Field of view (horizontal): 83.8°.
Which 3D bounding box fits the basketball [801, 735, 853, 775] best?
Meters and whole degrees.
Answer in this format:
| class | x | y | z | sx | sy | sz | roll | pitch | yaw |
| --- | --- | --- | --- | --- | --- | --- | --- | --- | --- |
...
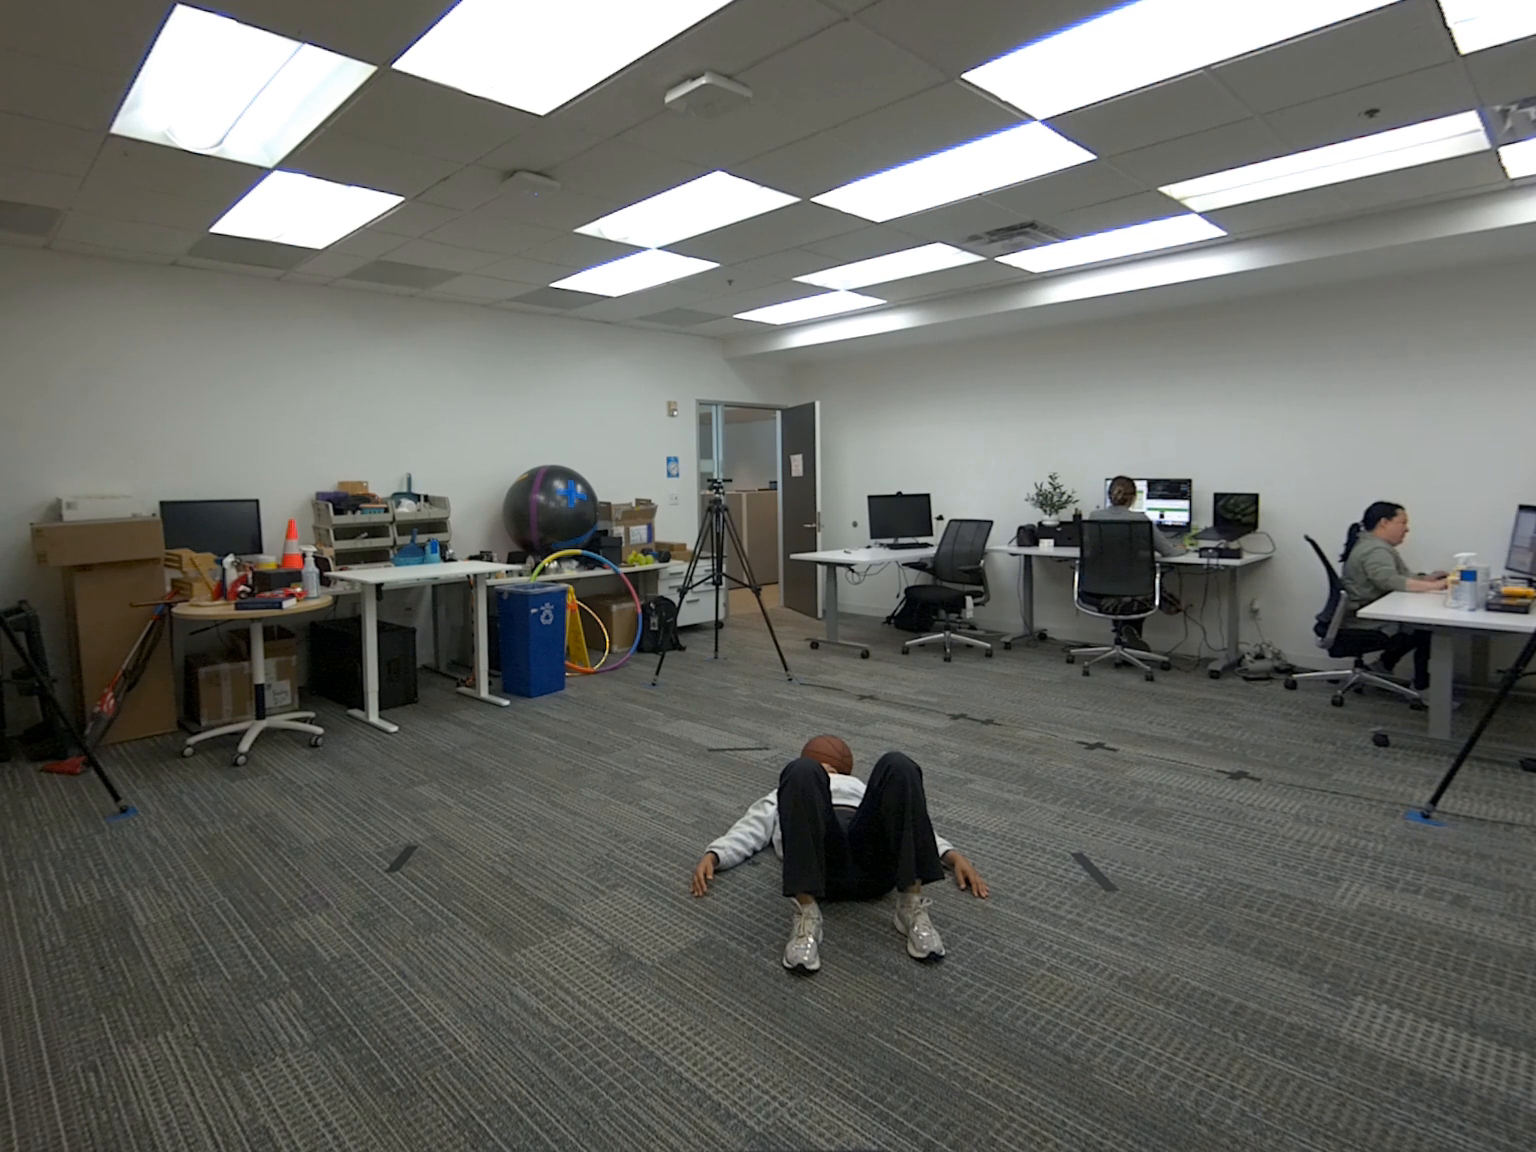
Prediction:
| class | x | y | z | sx | sy | sz | roll | pitch | yaw |
| --- | --- | --- | --- | --- | --- | --- | --- | --- | --- |
| basketball | 0.268 | 0.842 | 3.859 | 0.236 | 0.235 | 0.237 | -1 | 5 | -2 |
